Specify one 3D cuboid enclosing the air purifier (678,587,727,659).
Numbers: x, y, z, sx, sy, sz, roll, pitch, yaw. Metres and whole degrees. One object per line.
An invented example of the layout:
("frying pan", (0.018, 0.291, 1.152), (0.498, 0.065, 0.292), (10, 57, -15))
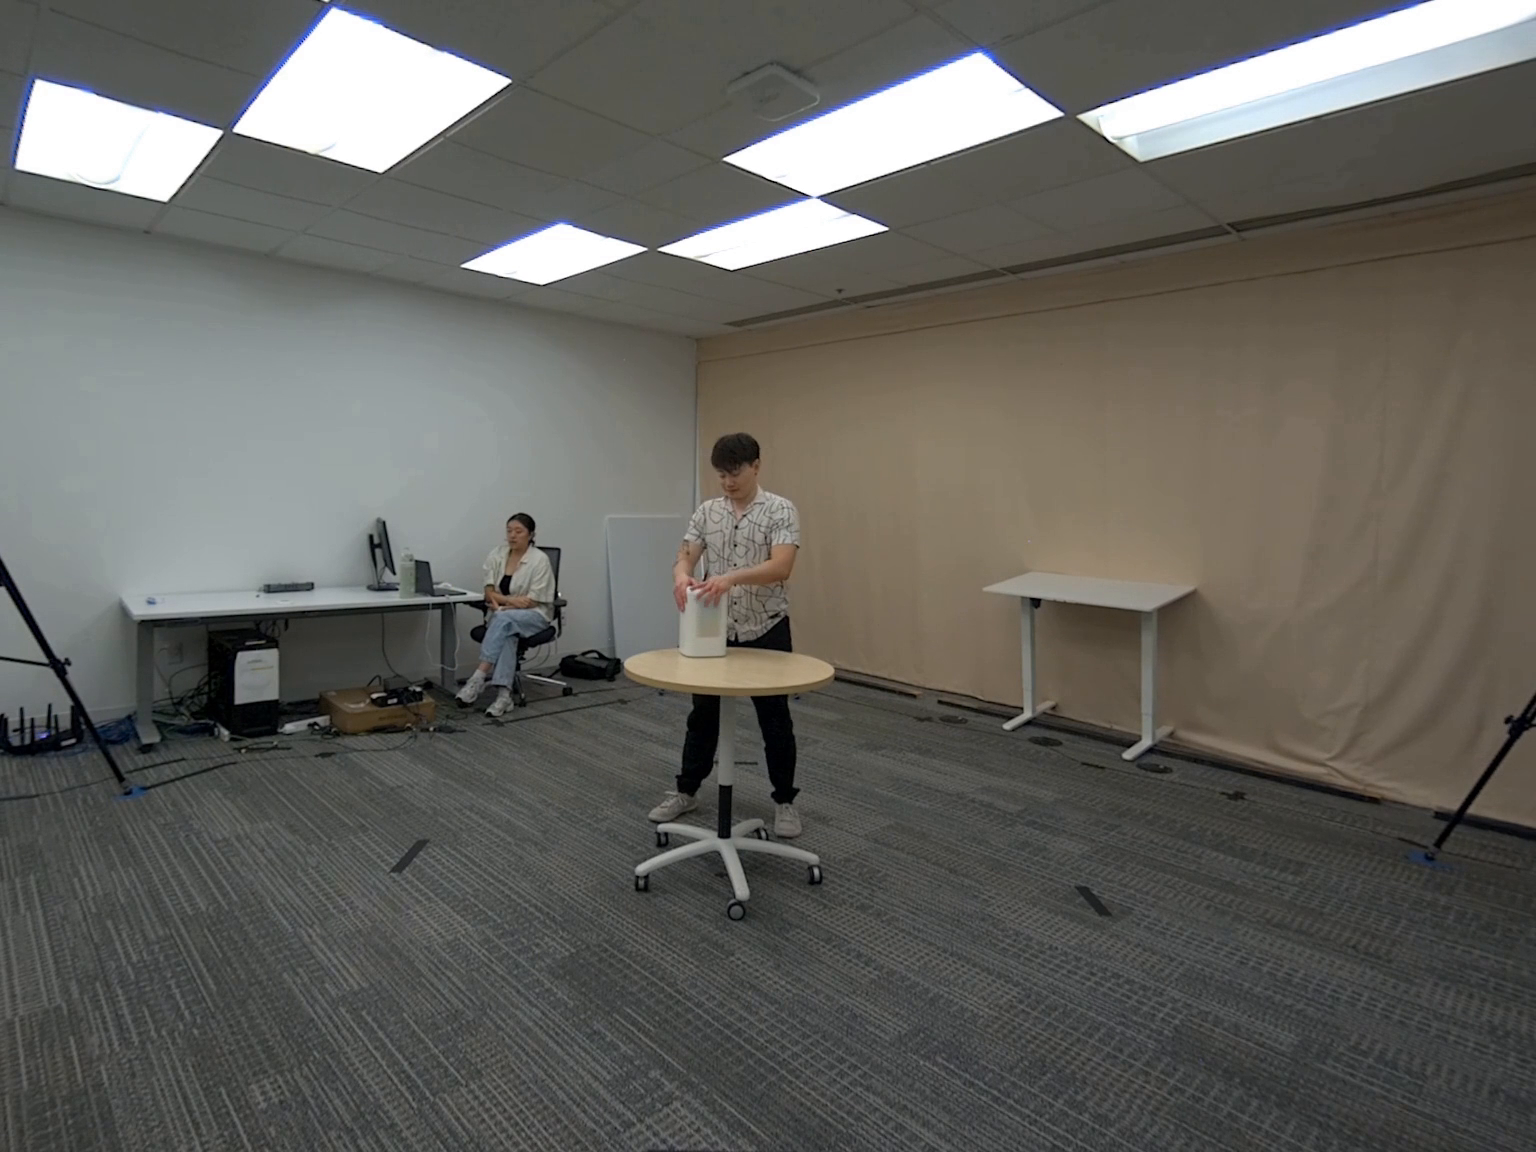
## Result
("air purifier", (-0.262, 0.174, 3.279), (0.169, 0.265, 0.173), (2, 2, -16))
